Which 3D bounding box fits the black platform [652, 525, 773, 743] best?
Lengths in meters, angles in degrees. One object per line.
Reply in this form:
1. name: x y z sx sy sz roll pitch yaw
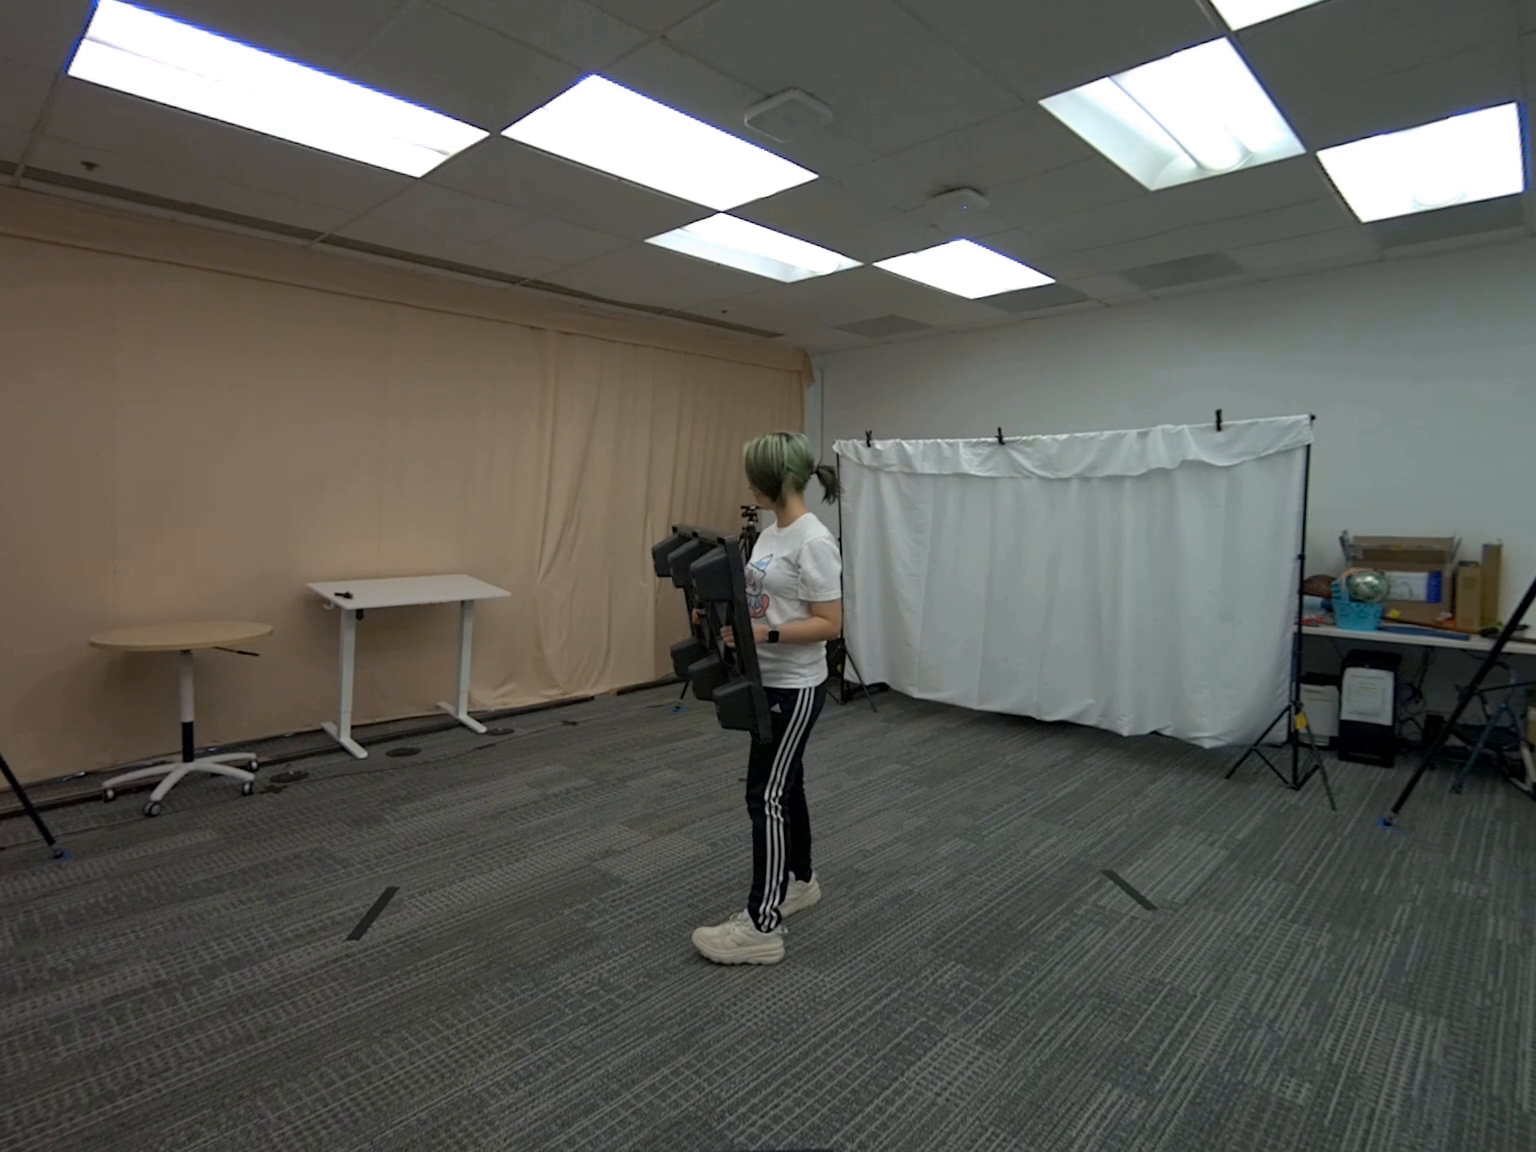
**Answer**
1. black platform: -0.209 0.155 2.720 0.141 0.602 0.821 -10 8 -16
